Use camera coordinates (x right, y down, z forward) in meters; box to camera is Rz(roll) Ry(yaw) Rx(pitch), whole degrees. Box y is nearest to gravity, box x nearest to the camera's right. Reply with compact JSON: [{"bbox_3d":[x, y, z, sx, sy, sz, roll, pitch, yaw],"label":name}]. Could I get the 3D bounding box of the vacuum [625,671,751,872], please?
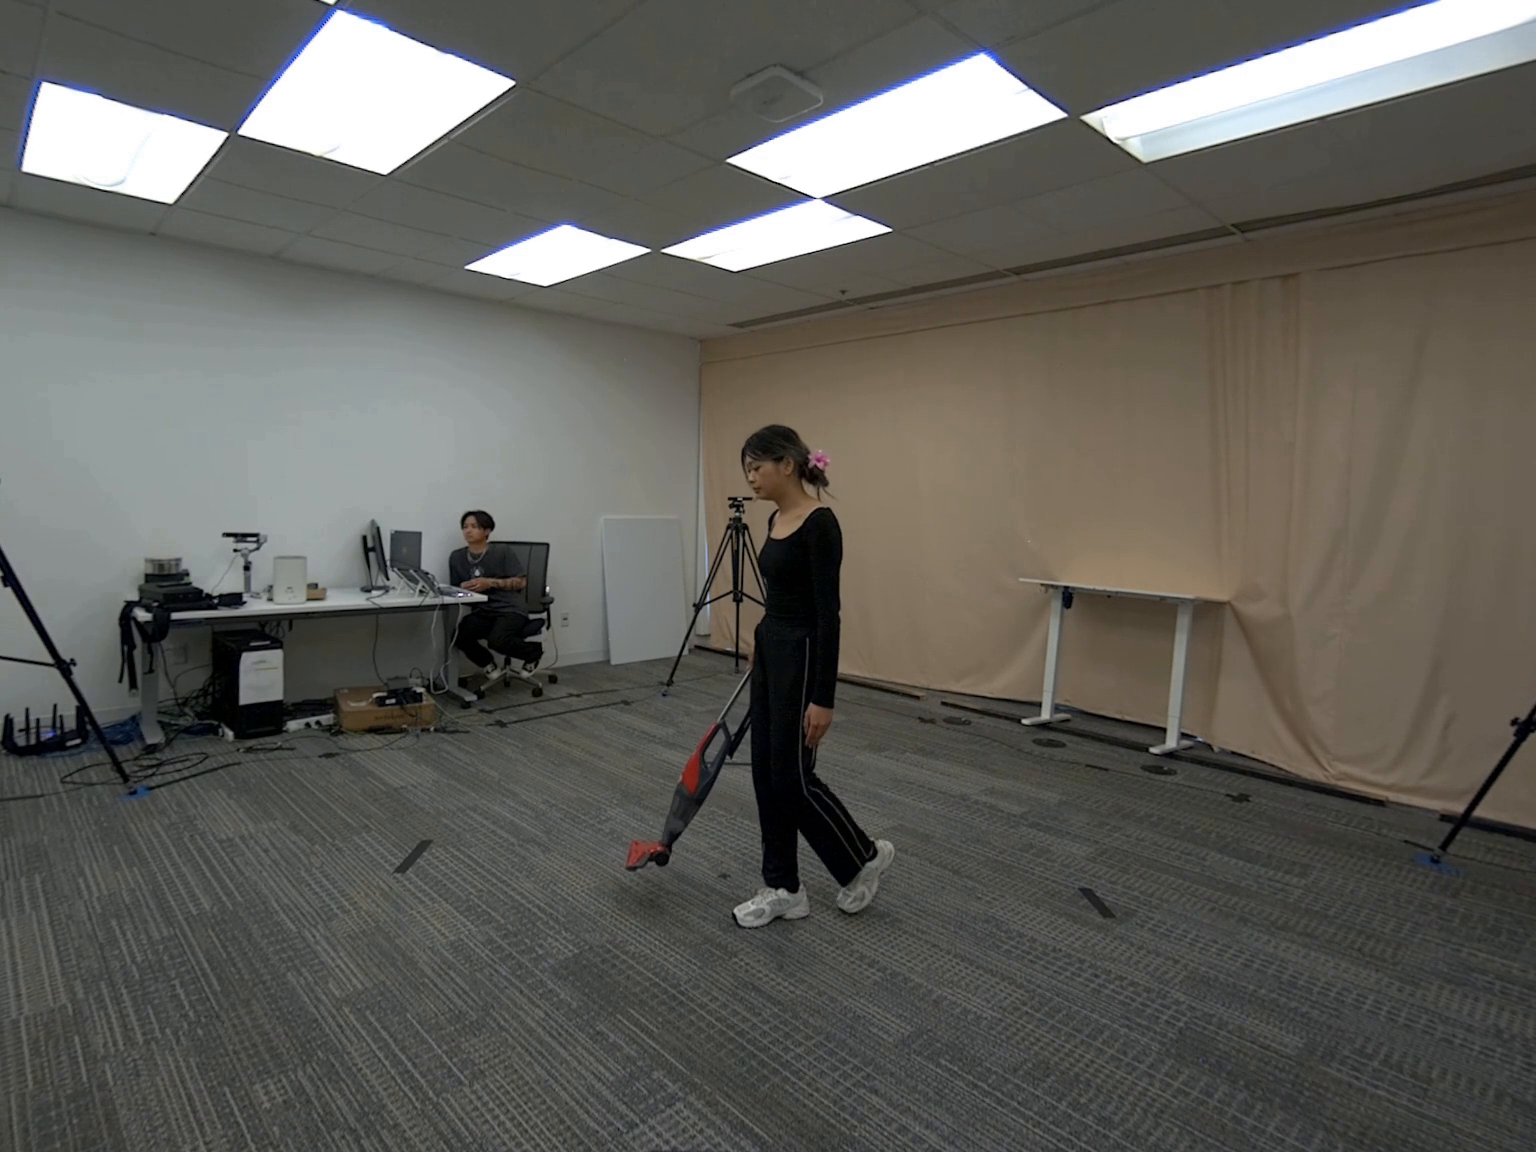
[{"bbox_3d":[-0.155,0.545,2.954,0.144,1.050,0.252,32,-3,-2],"label":"vacuum"}]
